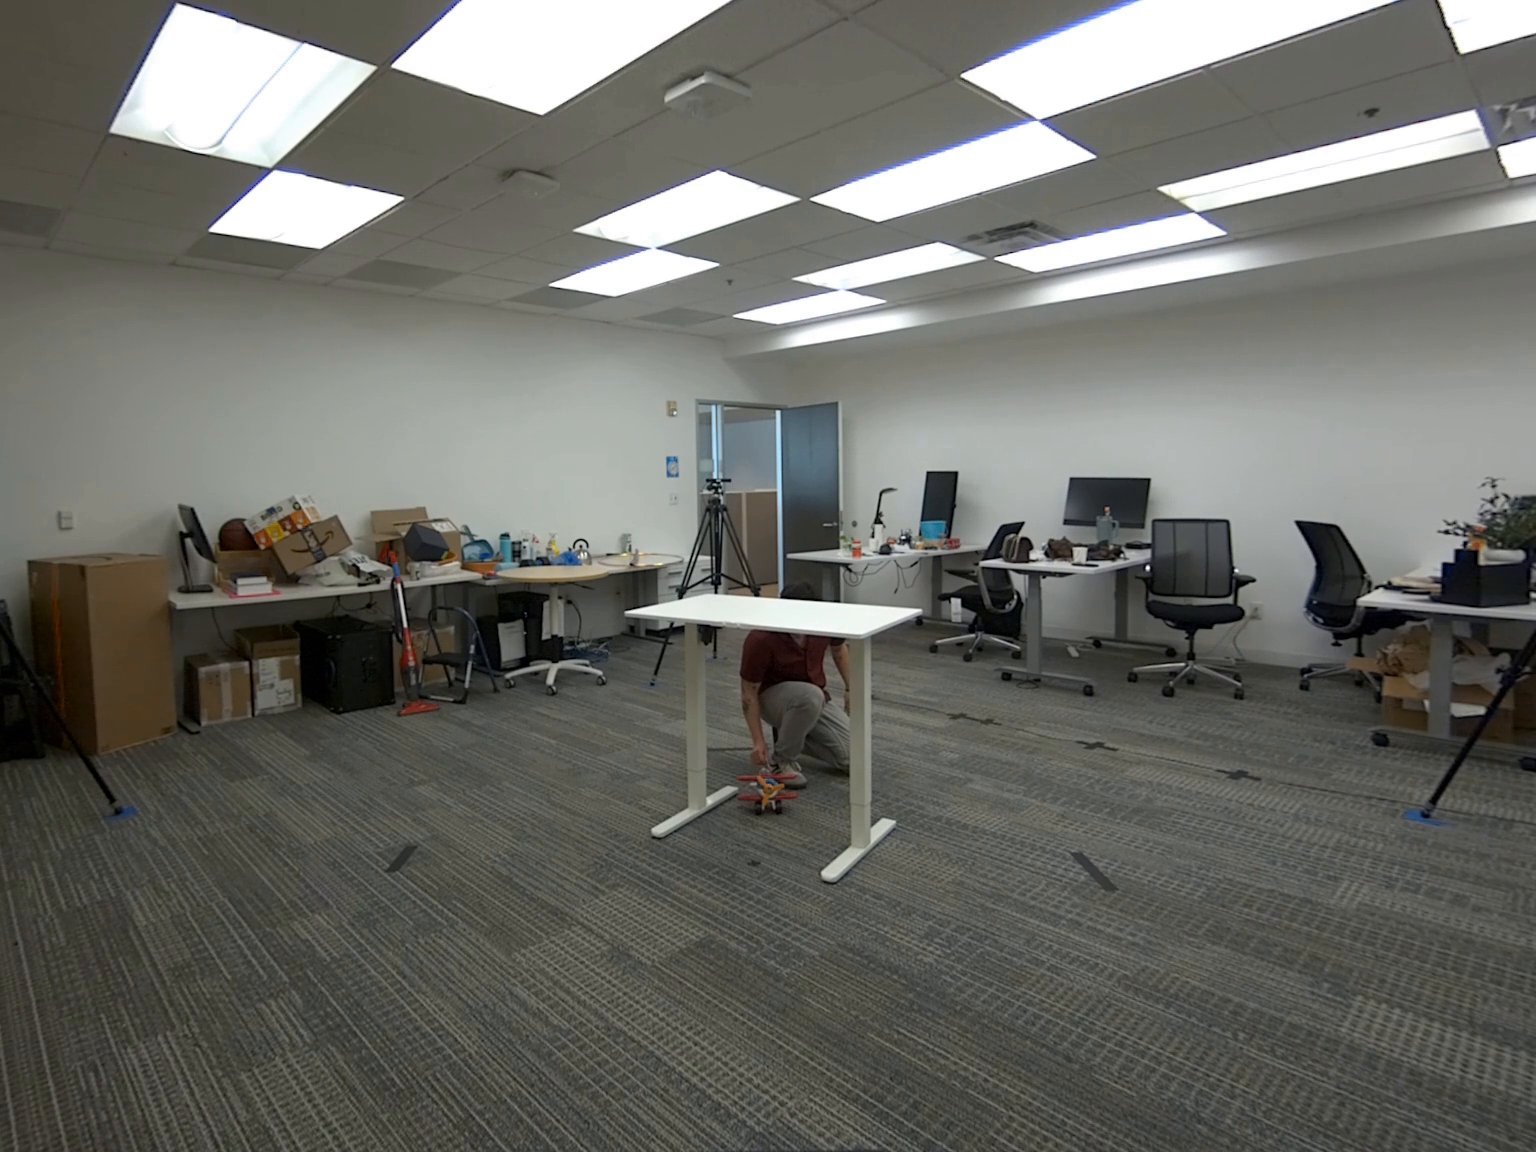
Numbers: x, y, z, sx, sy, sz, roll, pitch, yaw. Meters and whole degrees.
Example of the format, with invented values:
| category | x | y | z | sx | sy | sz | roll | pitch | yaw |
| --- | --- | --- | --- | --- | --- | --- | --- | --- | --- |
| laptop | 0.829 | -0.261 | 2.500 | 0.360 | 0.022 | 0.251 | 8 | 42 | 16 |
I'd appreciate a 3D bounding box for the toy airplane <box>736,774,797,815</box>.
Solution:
| category | x | y | z | sx | sy | sz | roll | pitch | yaw |
| --- | --- | --- | --- | --- | --- | --- | --- | --- | --- |
| toy airplane | -0.025 | 0.909 | 3.642 | 0.245 | 0.156 | 0.266 | -3 | 5 | -29 |
